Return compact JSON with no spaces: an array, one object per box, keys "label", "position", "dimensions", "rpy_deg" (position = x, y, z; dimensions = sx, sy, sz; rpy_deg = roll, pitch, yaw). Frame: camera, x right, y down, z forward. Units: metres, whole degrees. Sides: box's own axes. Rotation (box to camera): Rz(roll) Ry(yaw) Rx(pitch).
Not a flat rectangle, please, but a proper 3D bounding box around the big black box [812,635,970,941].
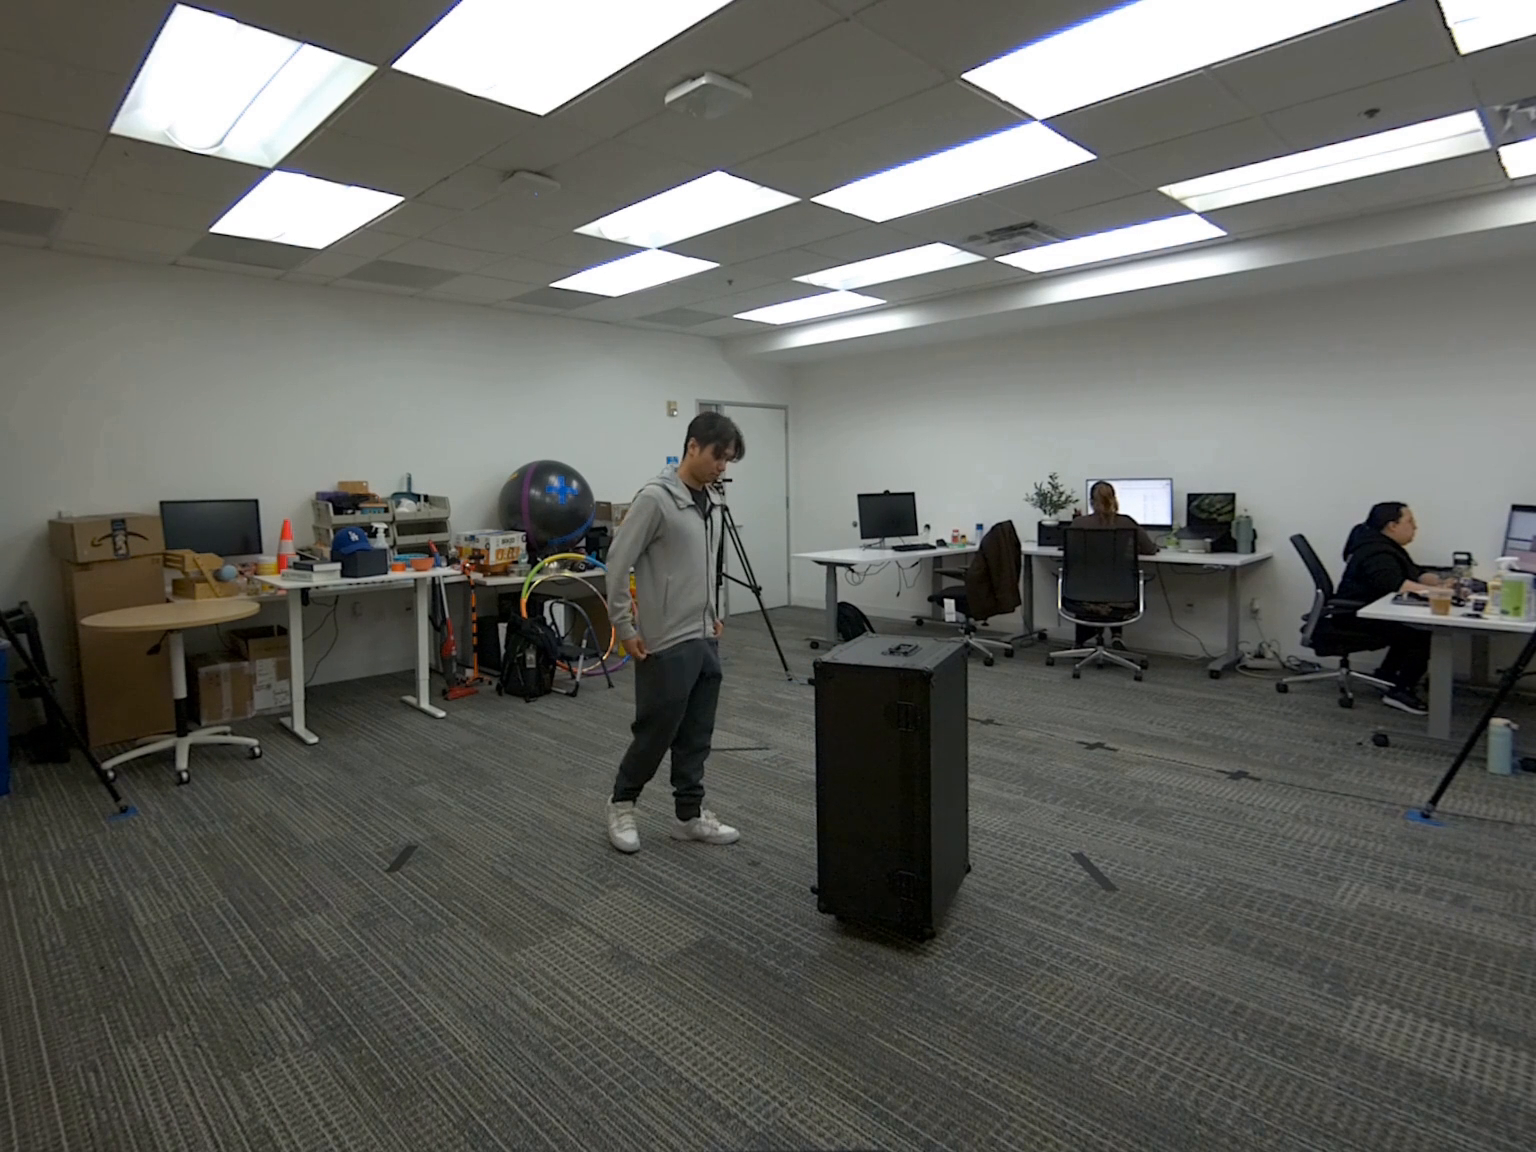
[{"label":"big black box","position":[0.399,0.657,2.716],"dimensions":[0.406,0.859,0.510],"rpy_deg":[0,4,27]}]
